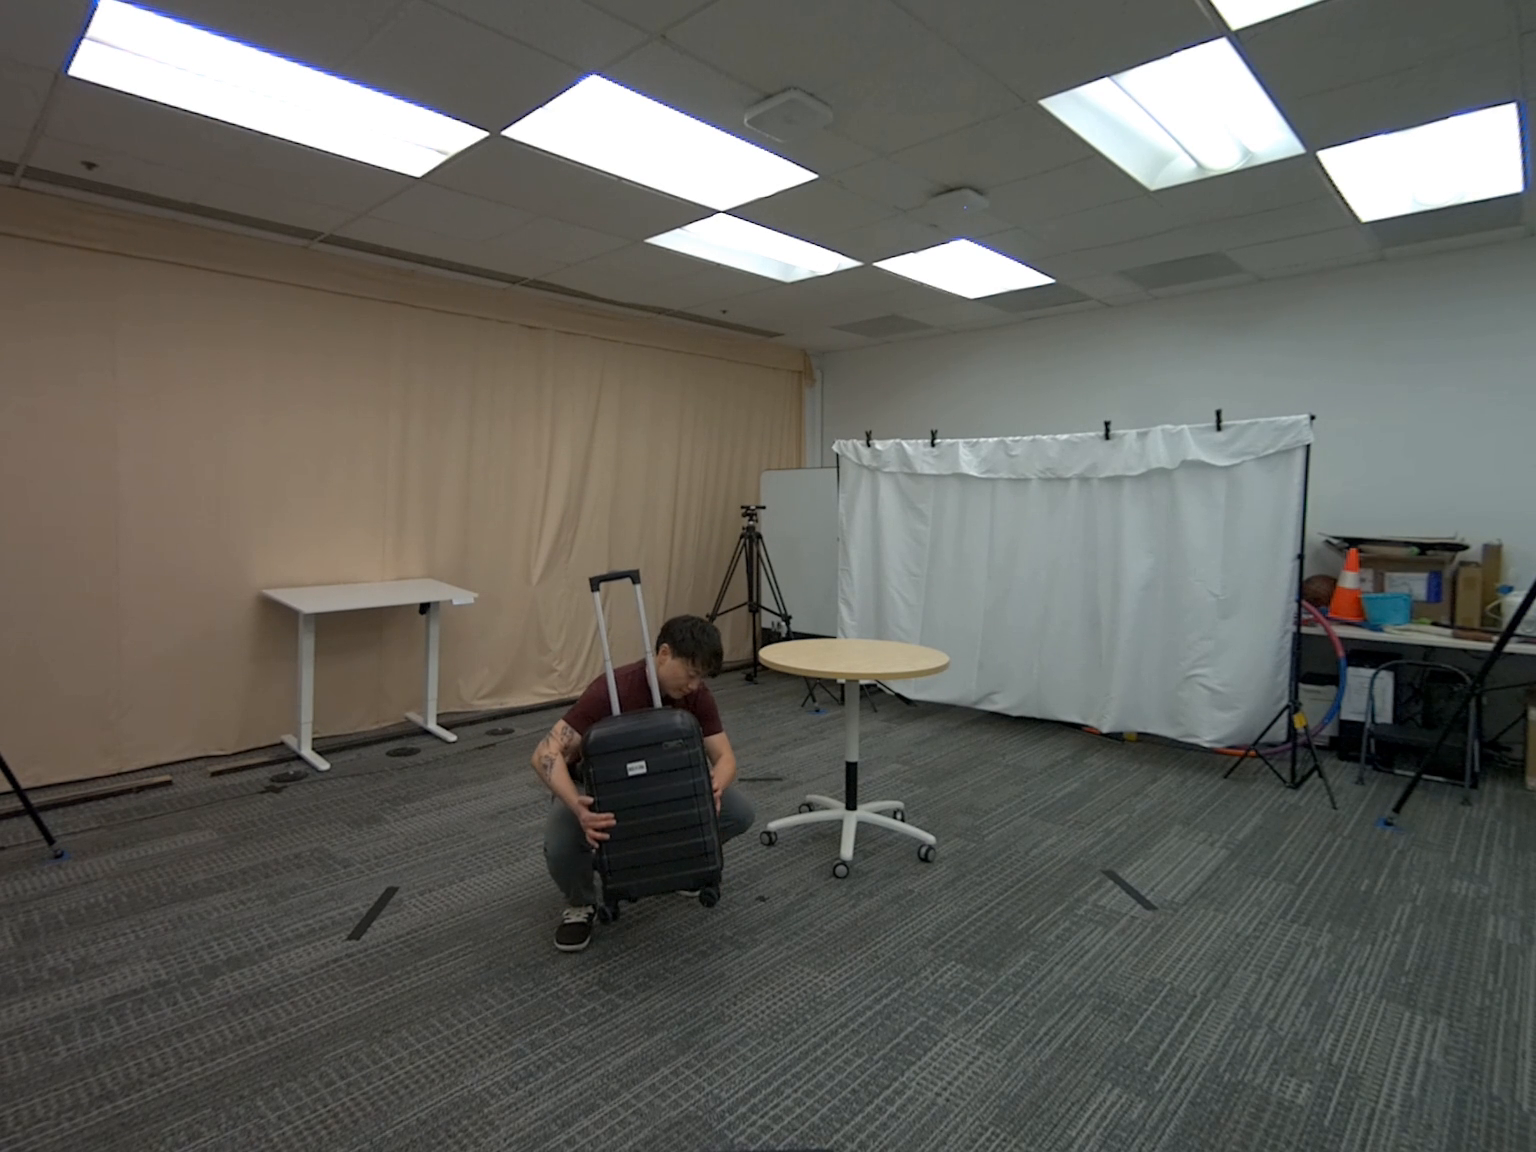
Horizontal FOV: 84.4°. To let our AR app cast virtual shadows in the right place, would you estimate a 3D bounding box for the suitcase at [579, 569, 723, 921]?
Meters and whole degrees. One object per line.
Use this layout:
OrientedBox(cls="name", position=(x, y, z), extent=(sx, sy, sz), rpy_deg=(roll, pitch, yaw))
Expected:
OrientedBox(cls="suitcase", position=(-0.375, 0.469, 2.478), extent=(0.384, 0.981, 0.256), rpy_deg=(-10, -4, -1))
